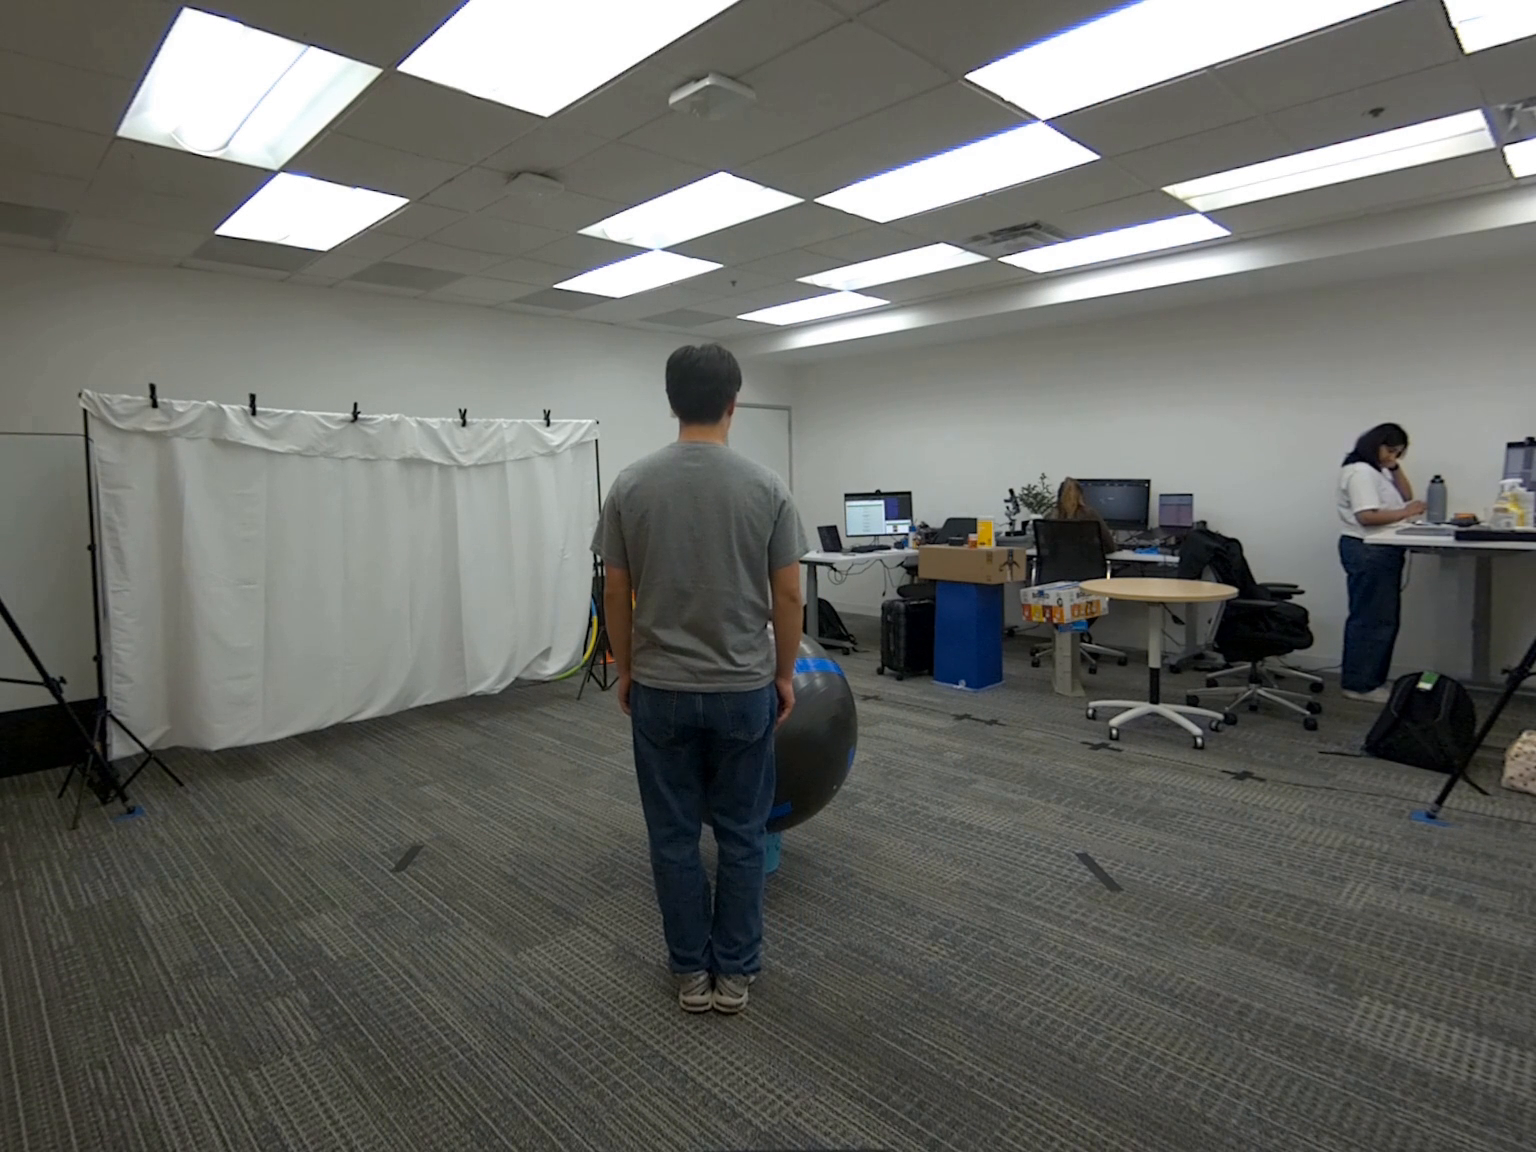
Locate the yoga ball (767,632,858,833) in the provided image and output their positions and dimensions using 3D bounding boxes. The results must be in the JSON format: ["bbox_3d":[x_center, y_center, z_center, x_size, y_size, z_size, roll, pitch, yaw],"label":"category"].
[{"bbox_3d":[-0.054,0.542,3.094,0.757,0.755,0.762,-1,5,-2],"label":"yoga ball"}]
